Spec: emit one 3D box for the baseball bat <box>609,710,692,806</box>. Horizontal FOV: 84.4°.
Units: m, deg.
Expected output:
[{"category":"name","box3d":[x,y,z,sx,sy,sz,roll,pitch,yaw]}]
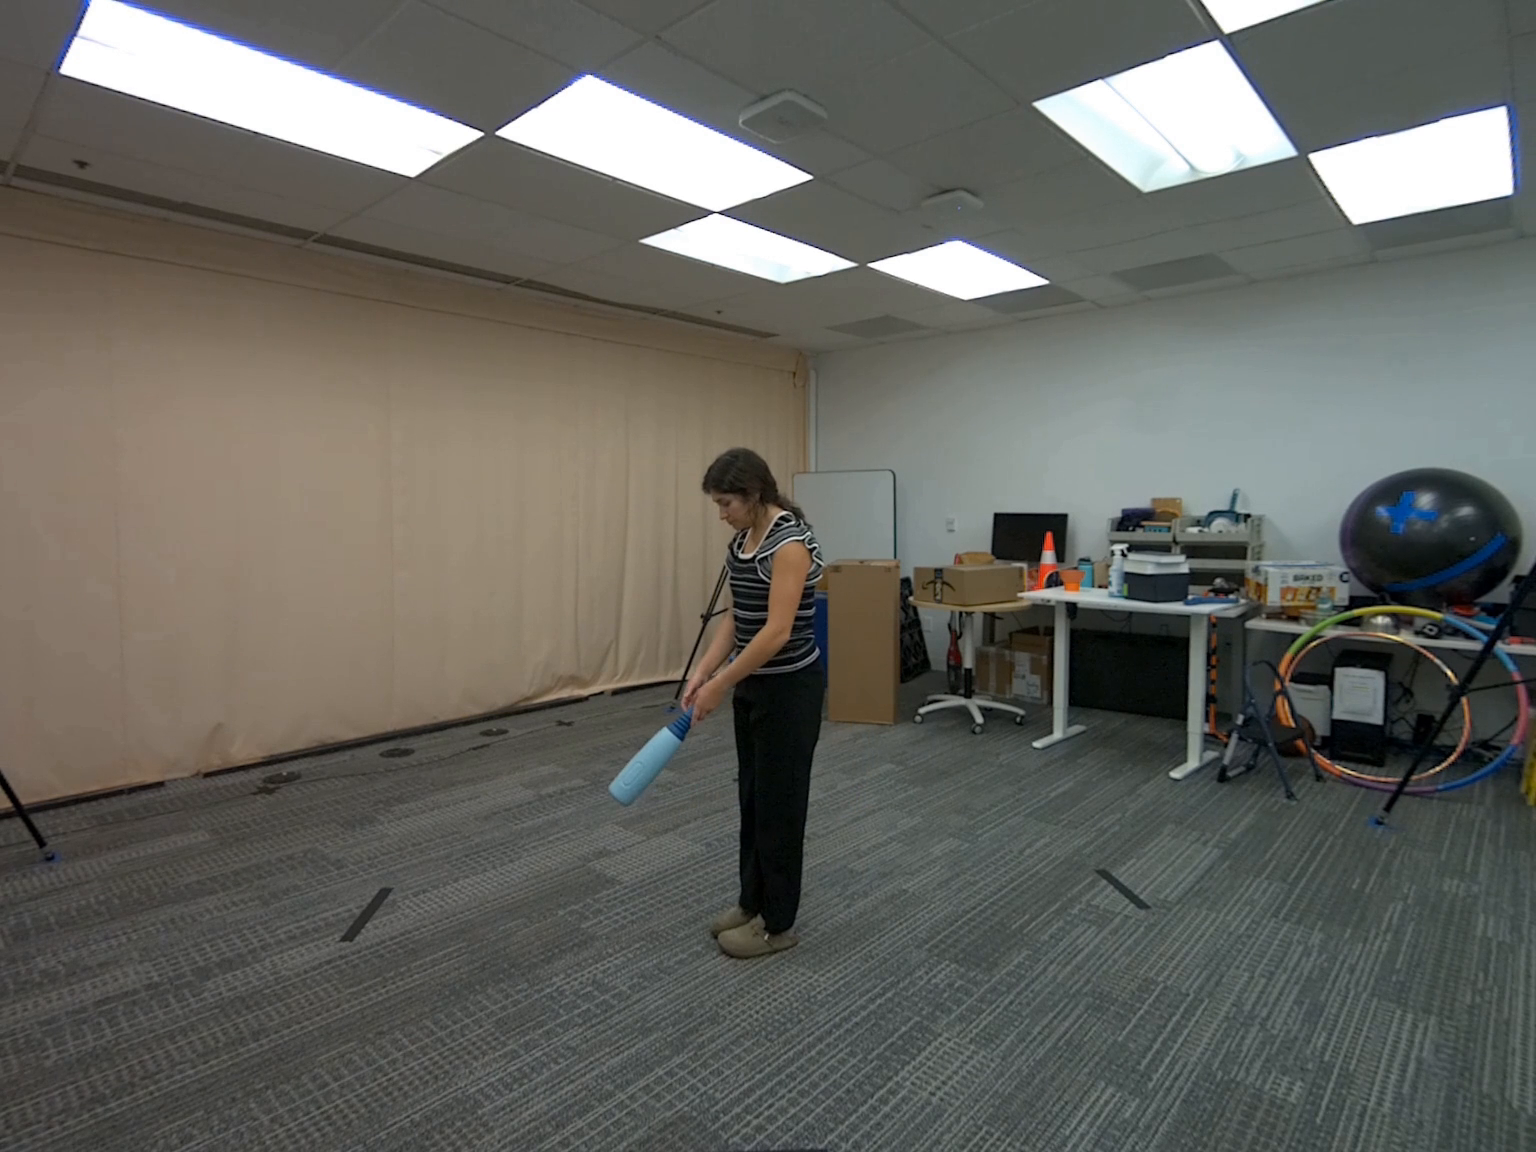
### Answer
[{"category":"baseball bat","box3d":[-0.253,0.461,2.501,0.090,0.541,0.088,42,-9,6]}]
